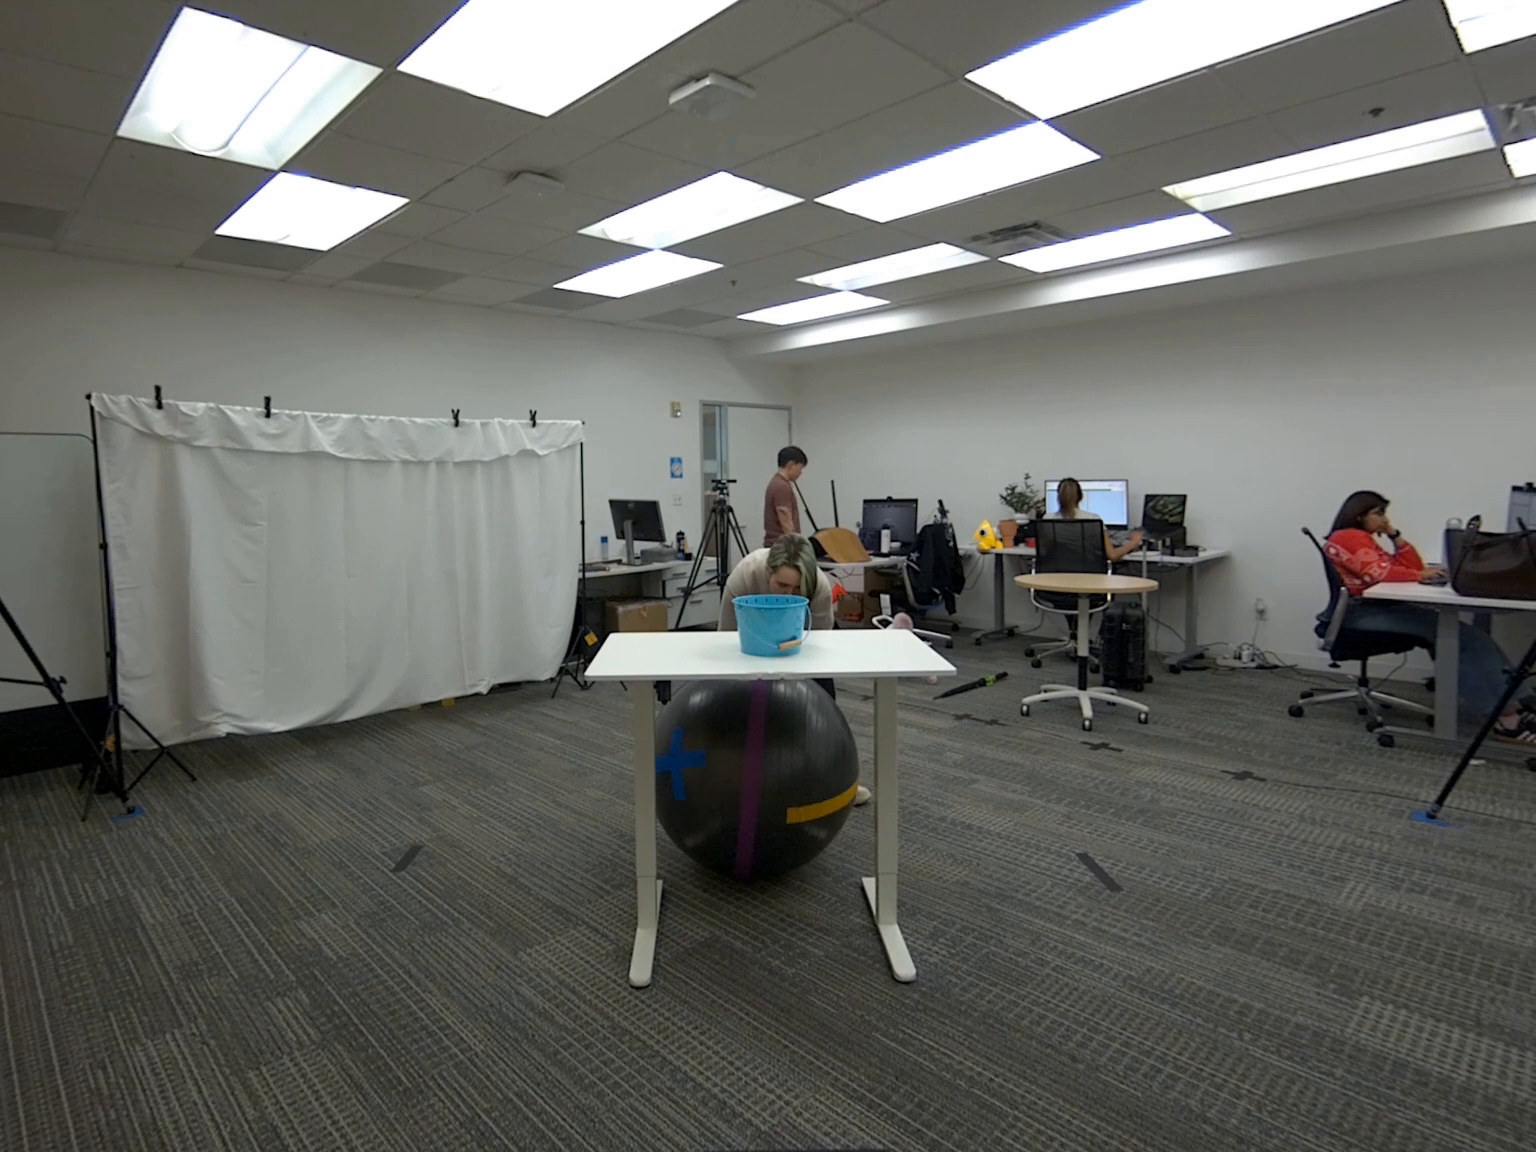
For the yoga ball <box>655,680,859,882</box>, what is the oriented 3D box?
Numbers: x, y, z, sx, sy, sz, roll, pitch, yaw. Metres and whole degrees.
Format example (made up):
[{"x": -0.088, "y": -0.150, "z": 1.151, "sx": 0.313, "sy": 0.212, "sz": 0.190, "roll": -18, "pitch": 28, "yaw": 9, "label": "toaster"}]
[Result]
[{"x": -0.058, "y": 0.683, "z": 3.061, "sx": 0.757, "sy": 0.755, "sz": 0.762, "roll": -1, "pitch": 5, "yaw": -2, "label": "yoga ball"}]
